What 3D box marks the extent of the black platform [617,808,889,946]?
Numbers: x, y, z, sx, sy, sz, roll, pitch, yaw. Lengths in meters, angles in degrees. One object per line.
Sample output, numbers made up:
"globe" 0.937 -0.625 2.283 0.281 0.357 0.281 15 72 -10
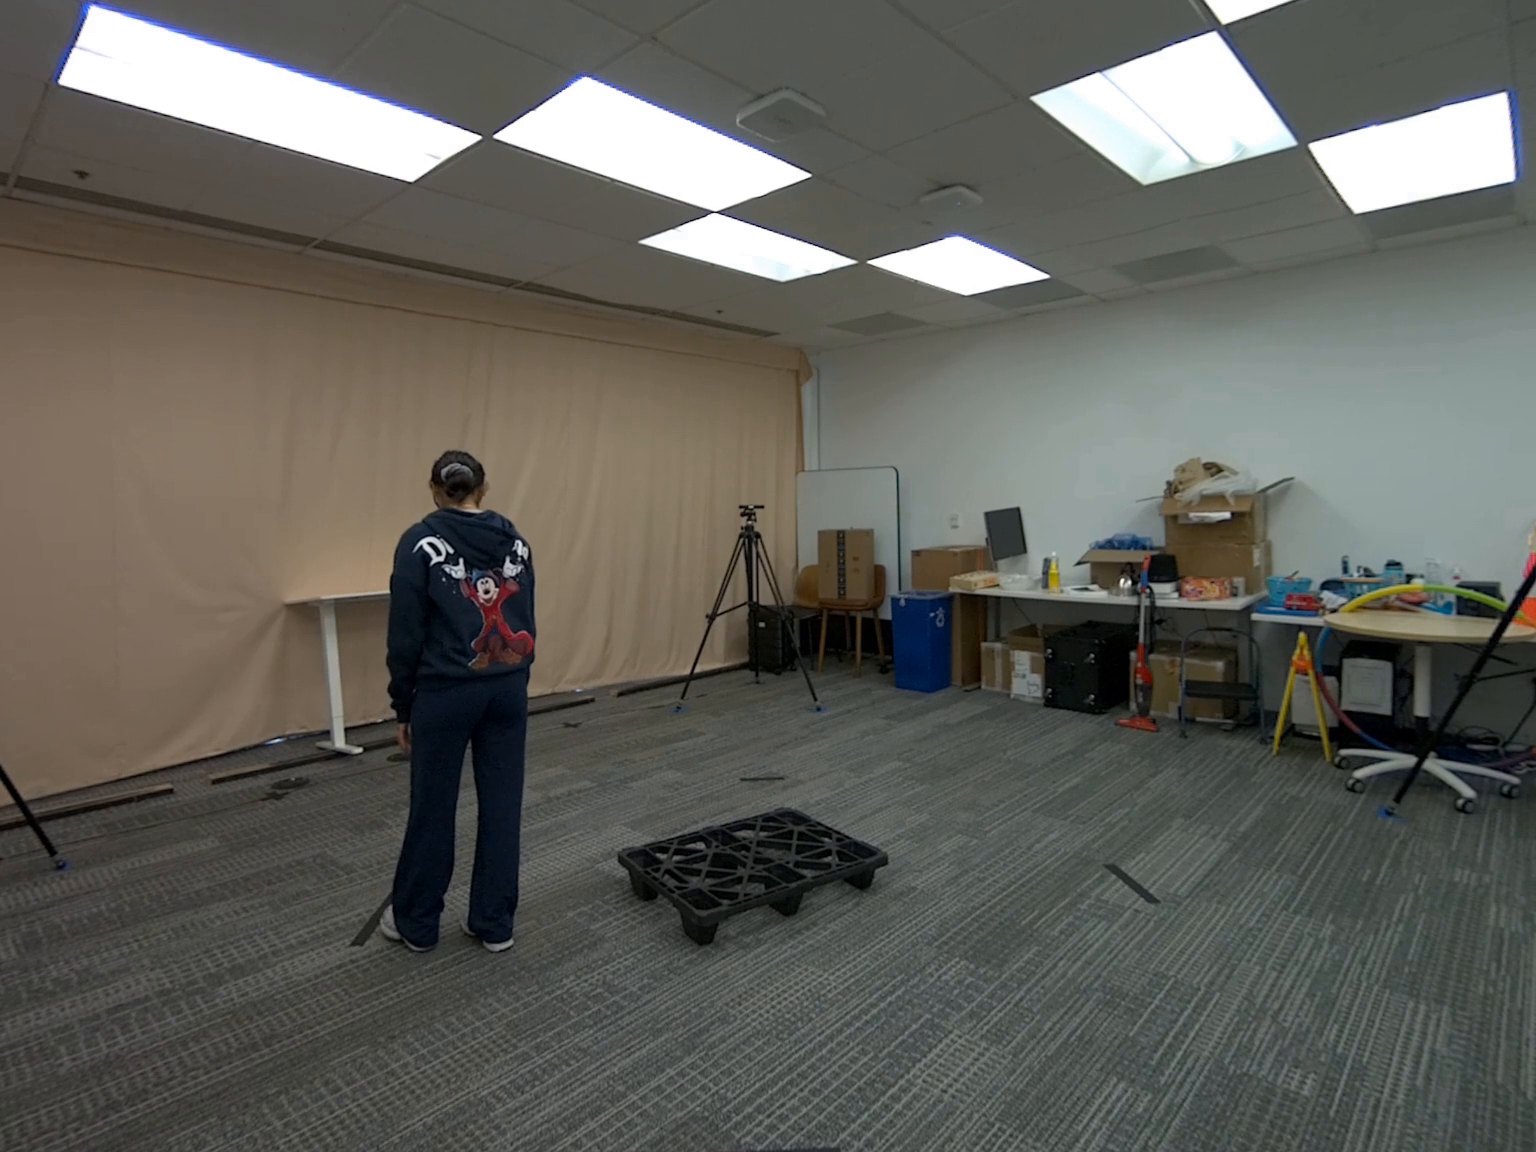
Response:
"black platform" -0.059 1.070 3.050 0.783 0.143 0.624 -4 5 -34
